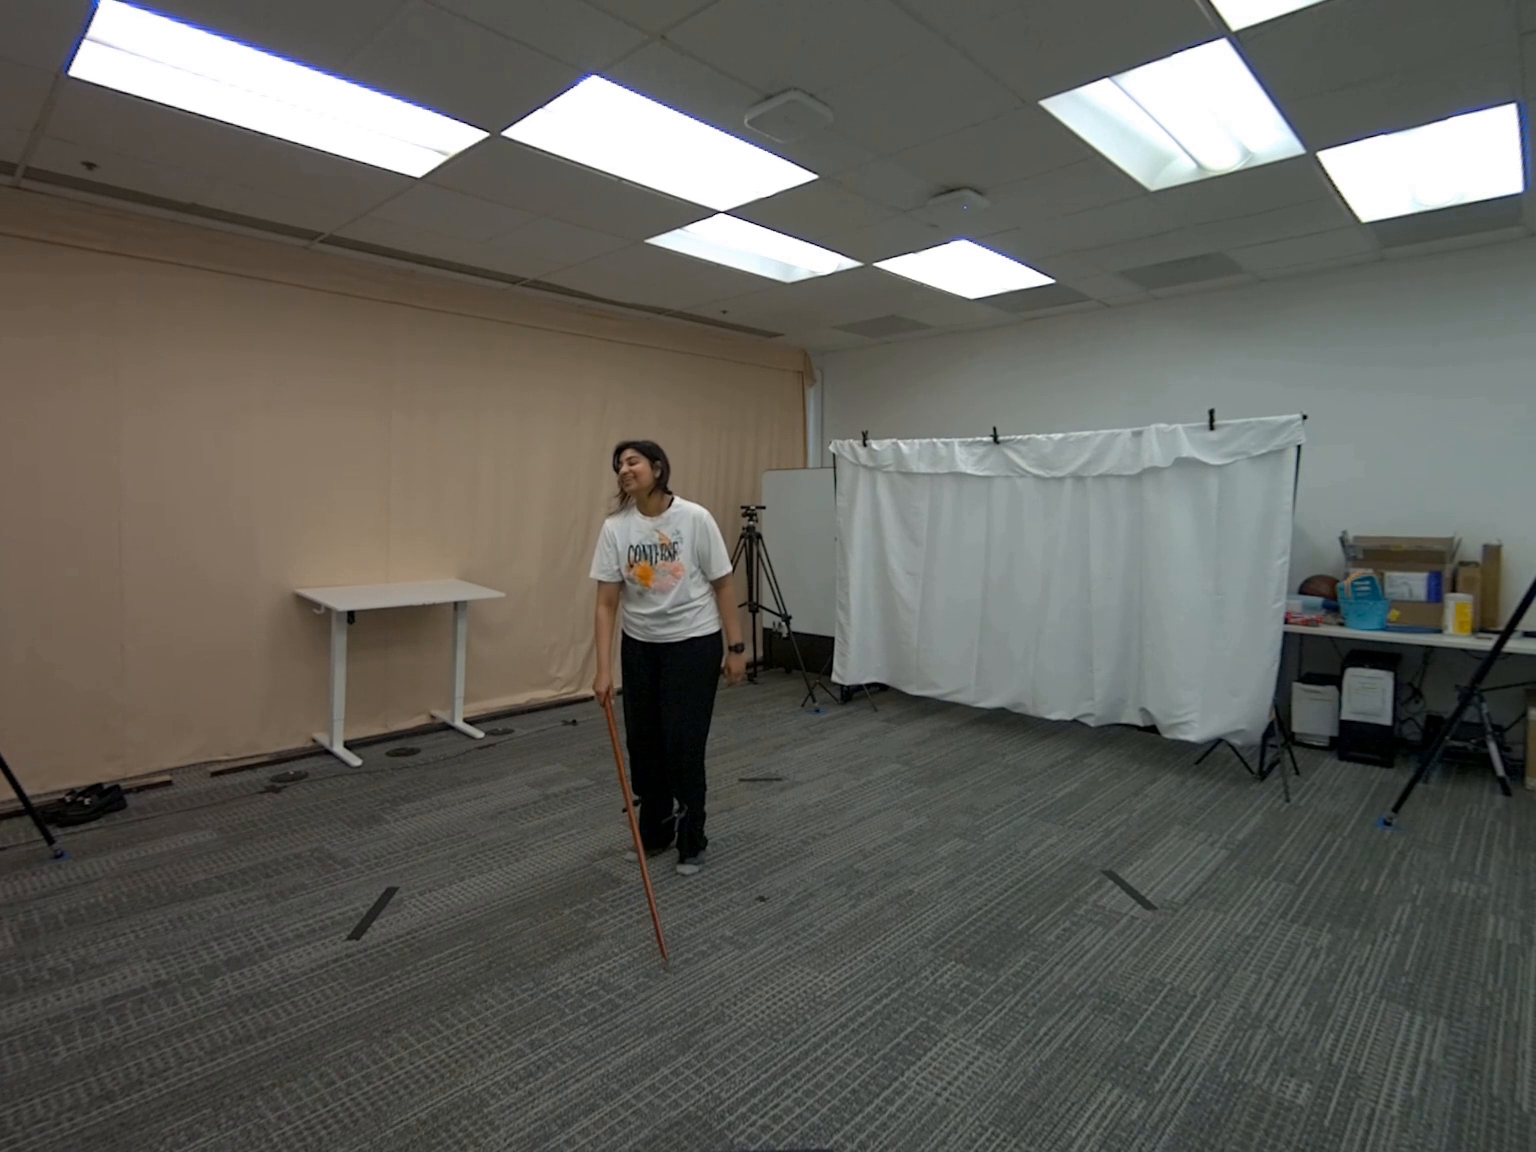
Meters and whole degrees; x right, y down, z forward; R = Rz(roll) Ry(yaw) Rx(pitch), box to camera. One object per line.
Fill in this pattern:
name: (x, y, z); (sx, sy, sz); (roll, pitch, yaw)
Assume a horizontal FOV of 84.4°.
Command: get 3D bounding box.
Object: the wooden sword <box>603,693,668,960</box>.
wooden sword: (-0.445, 0.784, 2.857); (0.024, 0.050, 1.055); (-15, 50, -12)
